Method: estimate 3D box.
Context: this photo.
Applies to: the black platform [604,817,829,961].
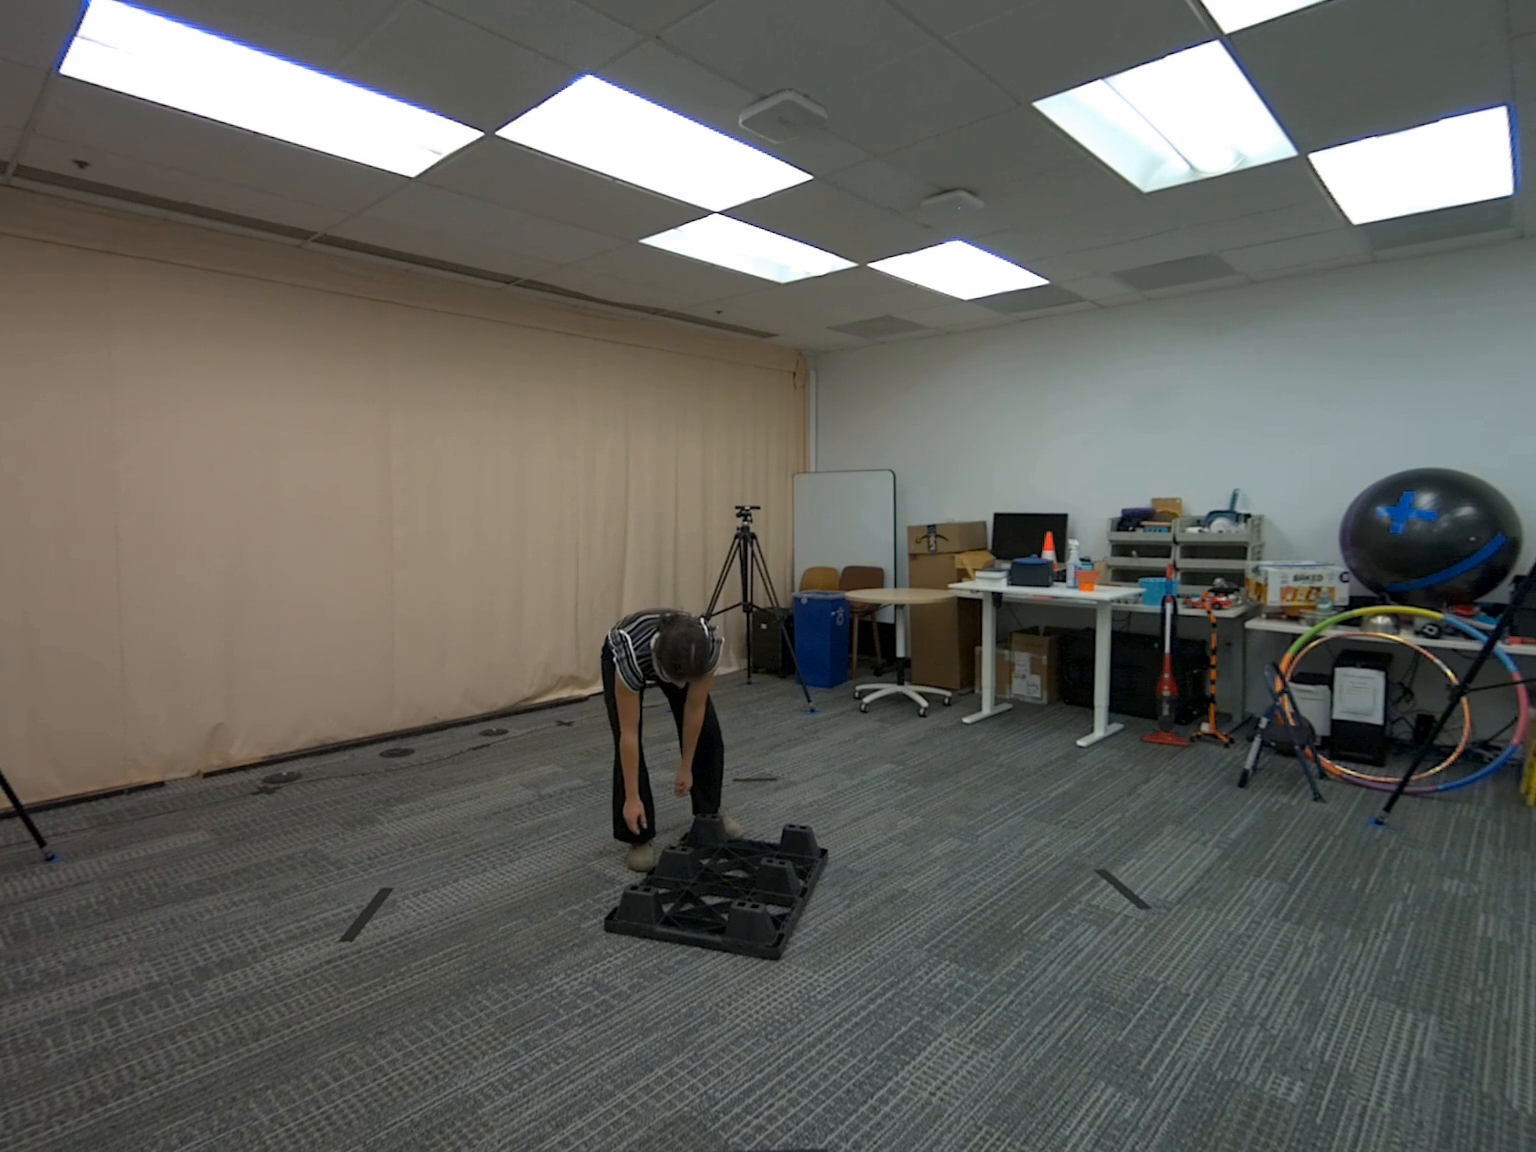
[{"bbox_3d":[-0.150,1.075,3.038,0.617,0.143,0.792,1,5,17],"label":"black platform"}]
